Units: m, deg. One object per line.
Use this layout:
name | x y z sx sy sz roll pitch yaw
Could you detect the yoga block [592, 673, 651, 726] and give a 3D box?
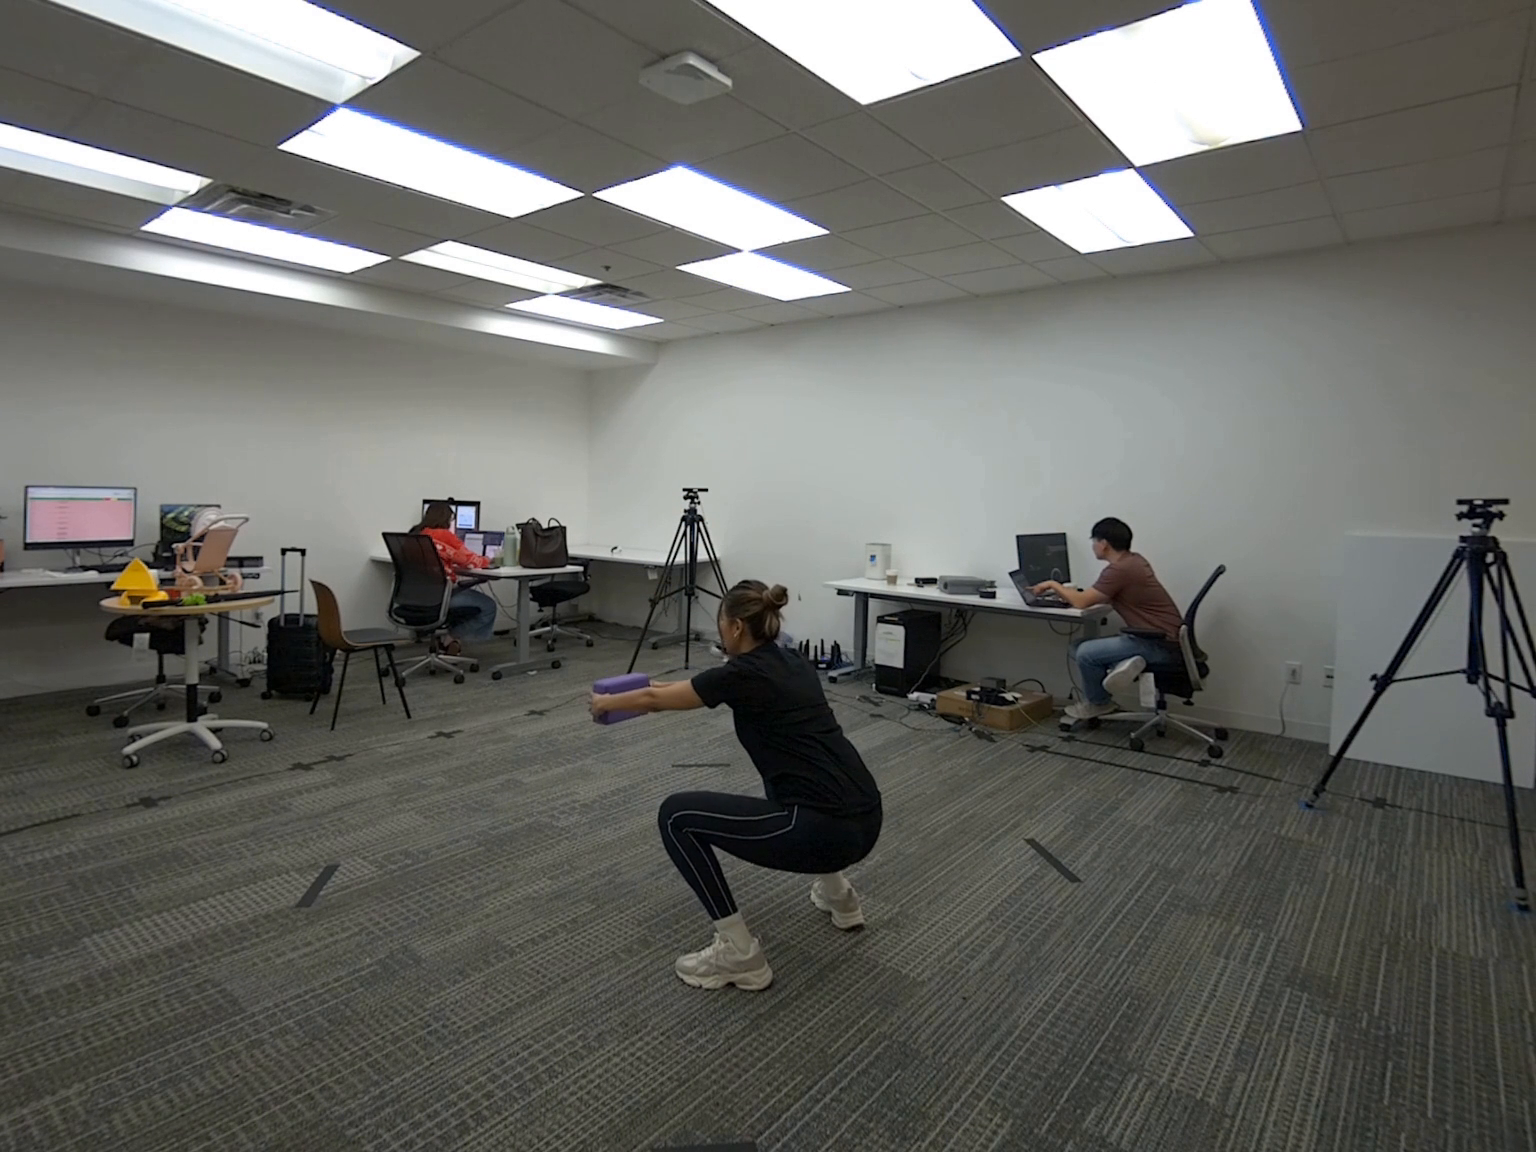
yoga block | -0.543 0.439 3.085 0.079 0.148 0.222 4 6 43
